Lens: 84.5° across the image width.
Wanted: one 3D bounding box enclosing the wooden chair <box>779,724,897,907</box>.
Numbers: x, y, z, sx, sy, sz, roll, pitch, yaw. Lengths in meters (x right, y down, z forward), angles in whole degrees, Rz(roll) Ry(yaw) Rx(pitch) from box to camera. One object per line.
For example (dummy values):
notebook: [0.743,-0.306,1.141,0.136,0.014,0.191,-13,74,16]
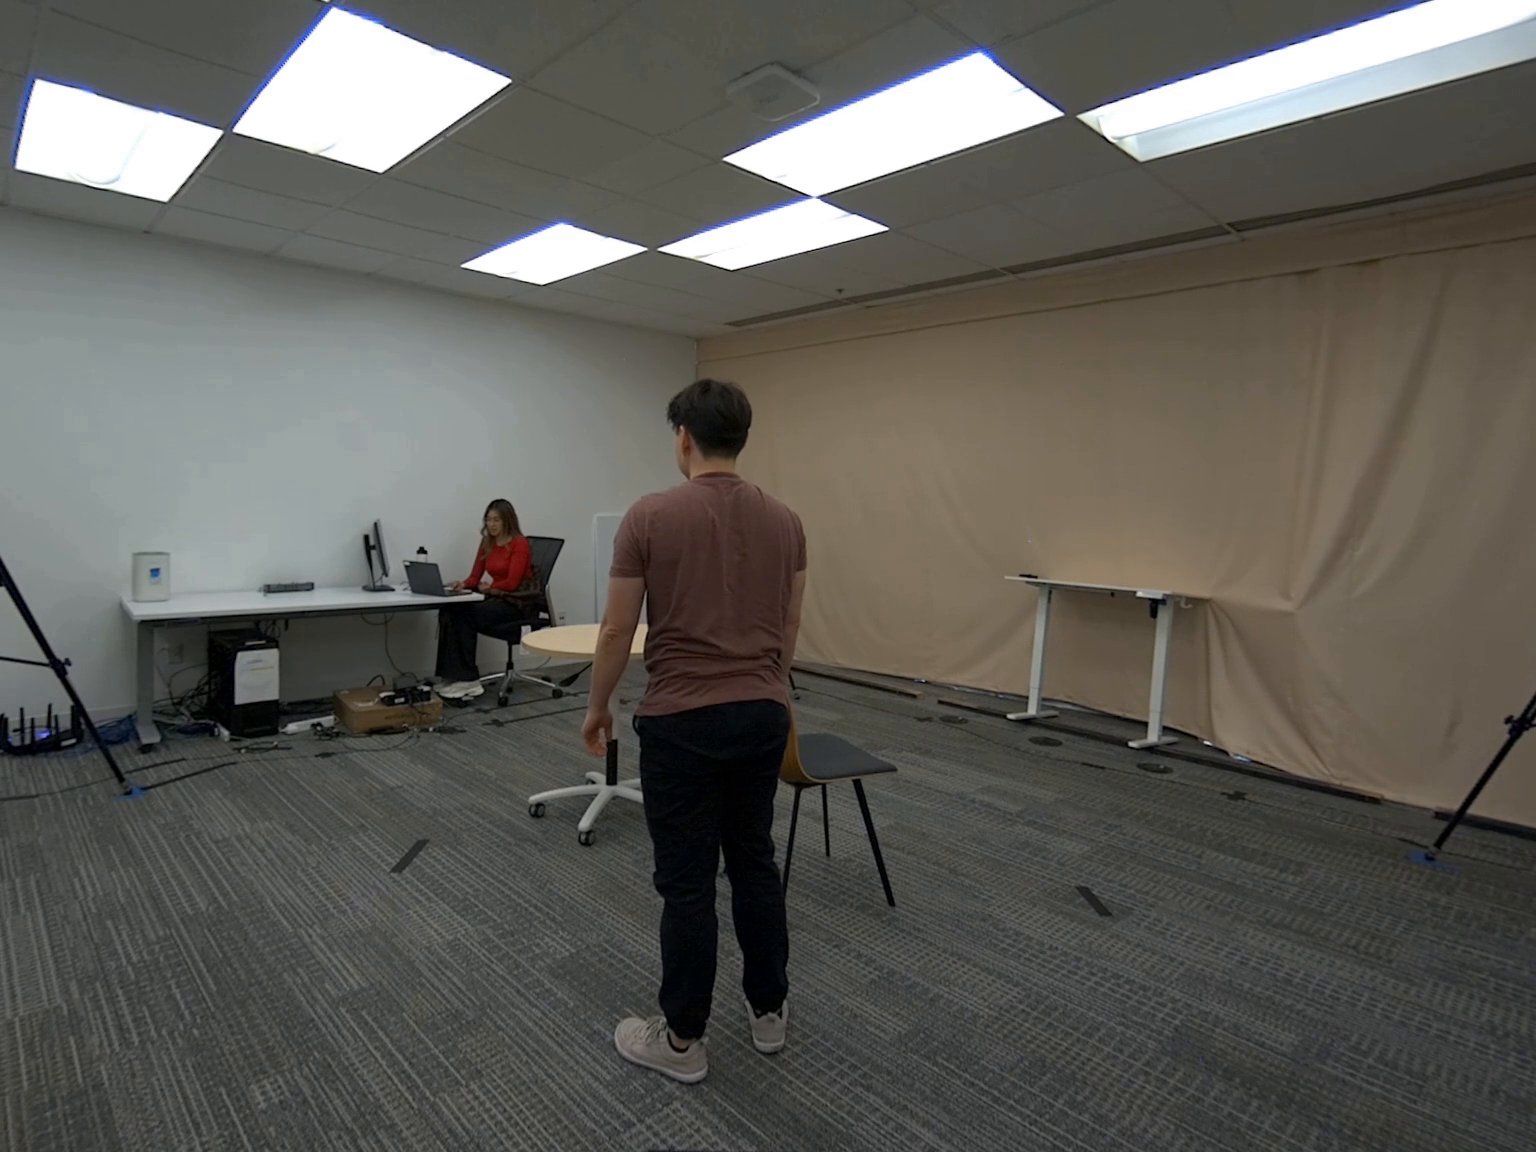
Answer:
wooden chair: [0.147,0.696,2.980,0.514,0.874,0.488,-5,5,-25]
